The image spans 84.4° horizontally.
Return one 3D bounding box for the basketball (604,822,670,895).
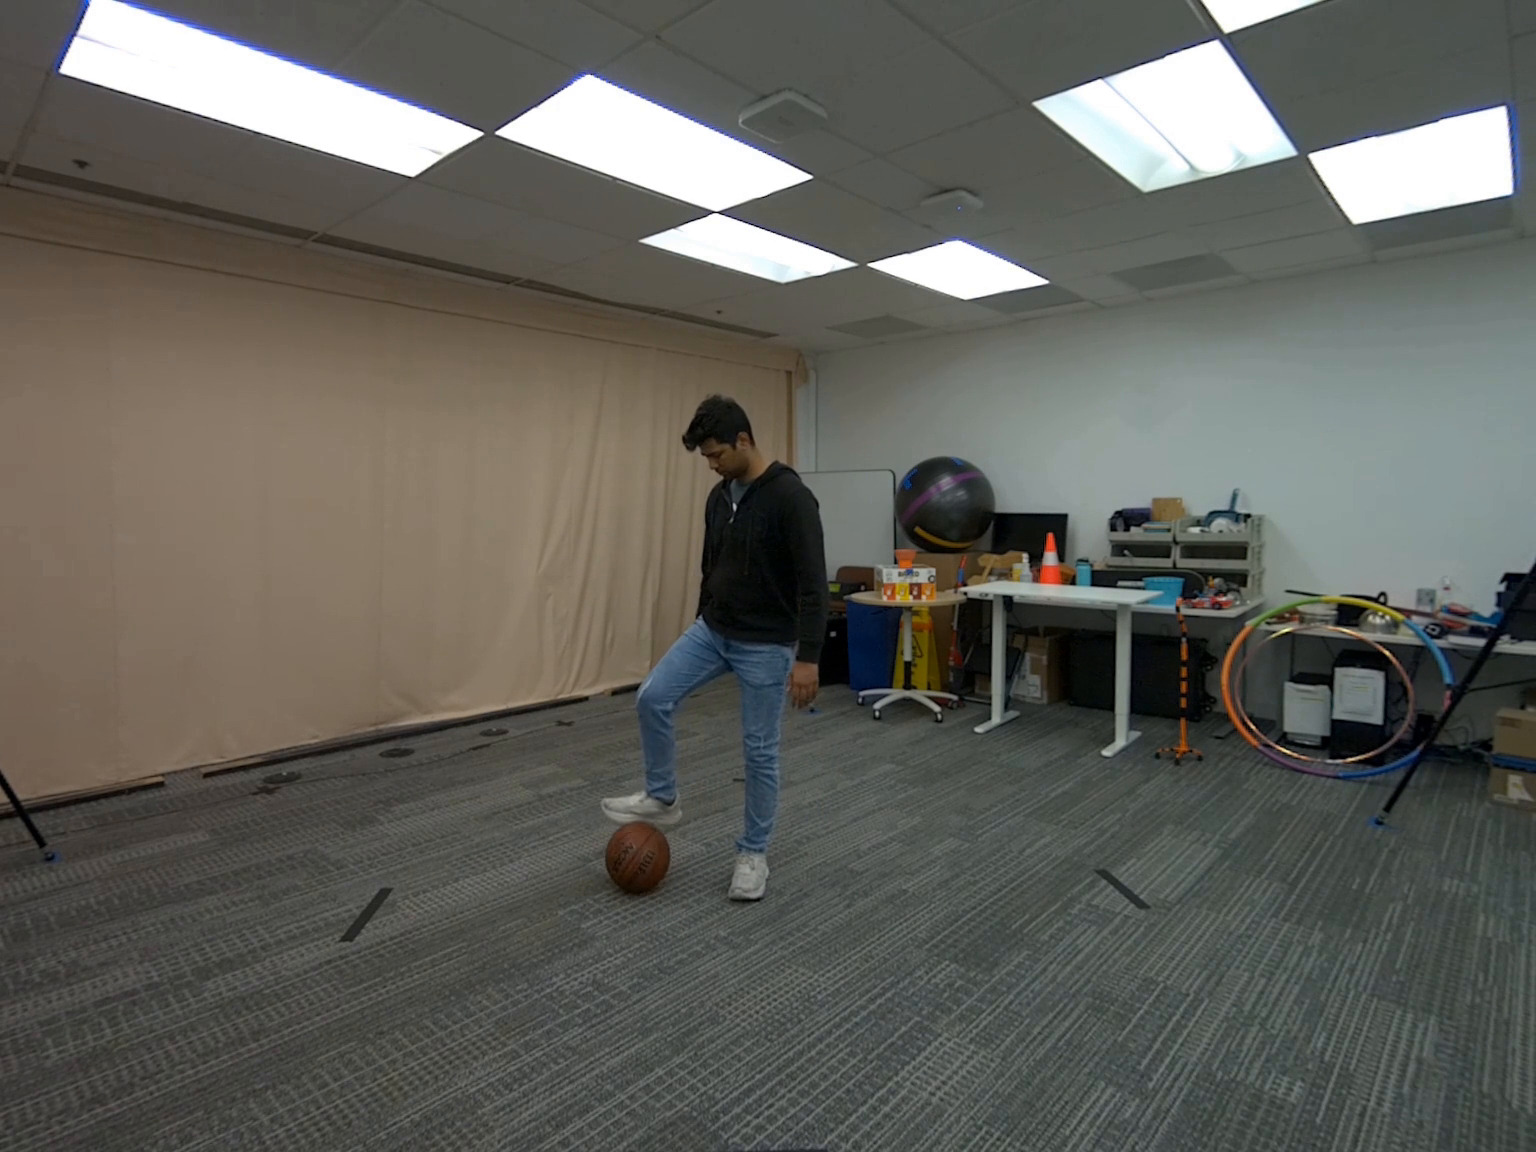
[{"bbox_3d":[-0.475,1.022,3.070,0.236,0.235,0.237,0,4,-2],"label":"basketball"}]
